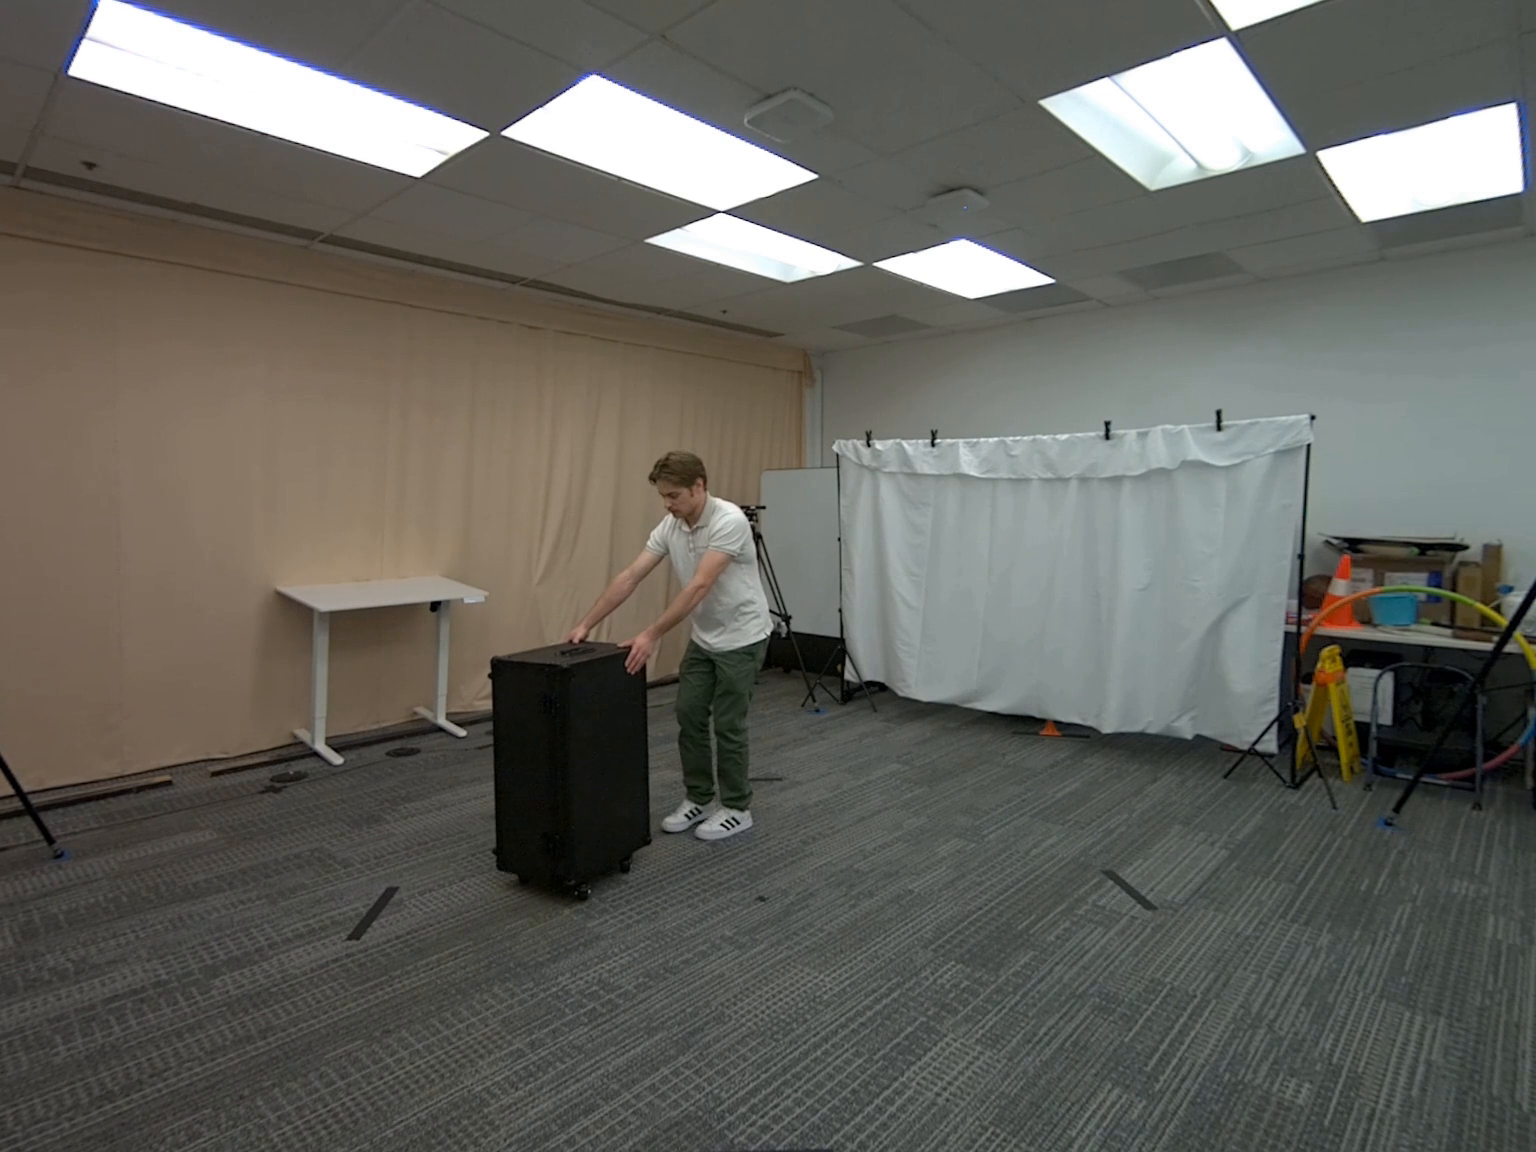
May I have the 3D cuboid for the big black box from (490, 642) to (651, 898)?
[{"bbox_3d":[-0.739,0.709,3.176,0.396,0.867,0.510,1,2,29],"label":"big black box"}]
